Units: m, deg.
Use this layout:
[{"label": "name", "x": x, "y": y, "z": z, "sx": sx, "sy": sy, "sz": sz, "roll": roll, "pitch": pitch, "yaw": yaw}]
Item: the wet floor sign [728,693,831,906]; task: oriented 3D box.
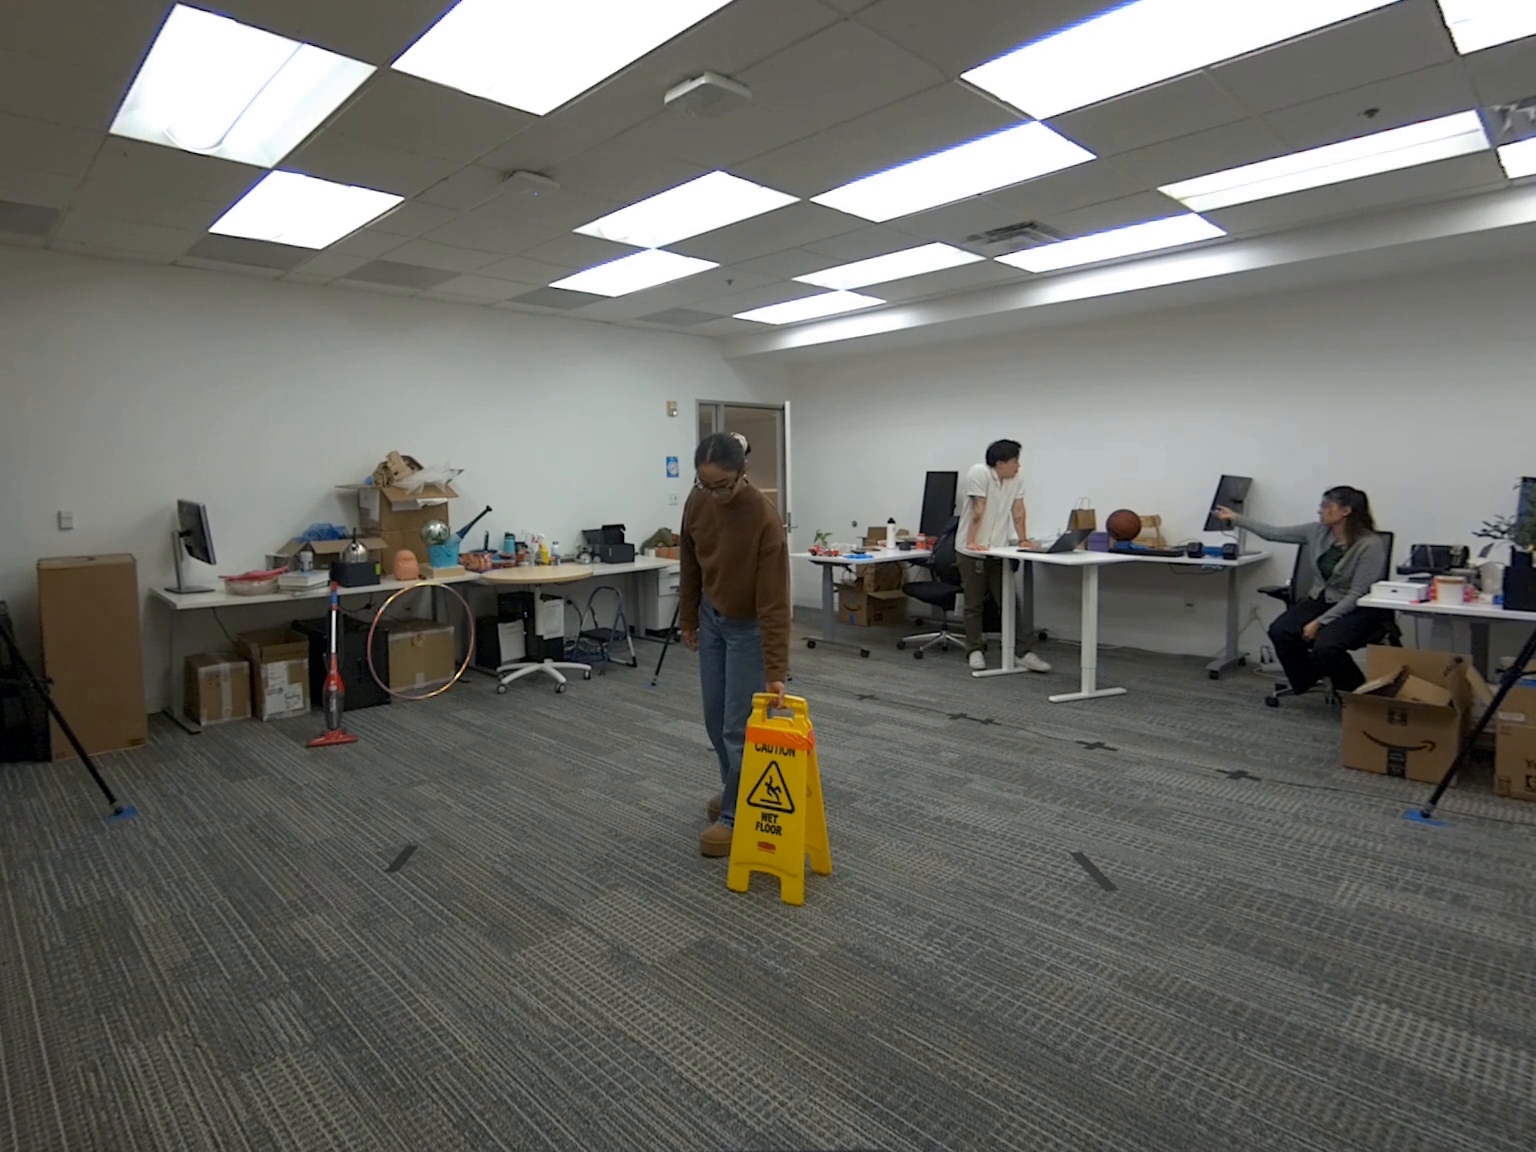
[{"label": "wet floor sign", "x": 0.046, "y": 0.732, "z": 2.952, "sx": 0.289, "sy": 0.645, "sz": 0.283, "roll": 2, "pitch": 2, "yaw": 27}]
